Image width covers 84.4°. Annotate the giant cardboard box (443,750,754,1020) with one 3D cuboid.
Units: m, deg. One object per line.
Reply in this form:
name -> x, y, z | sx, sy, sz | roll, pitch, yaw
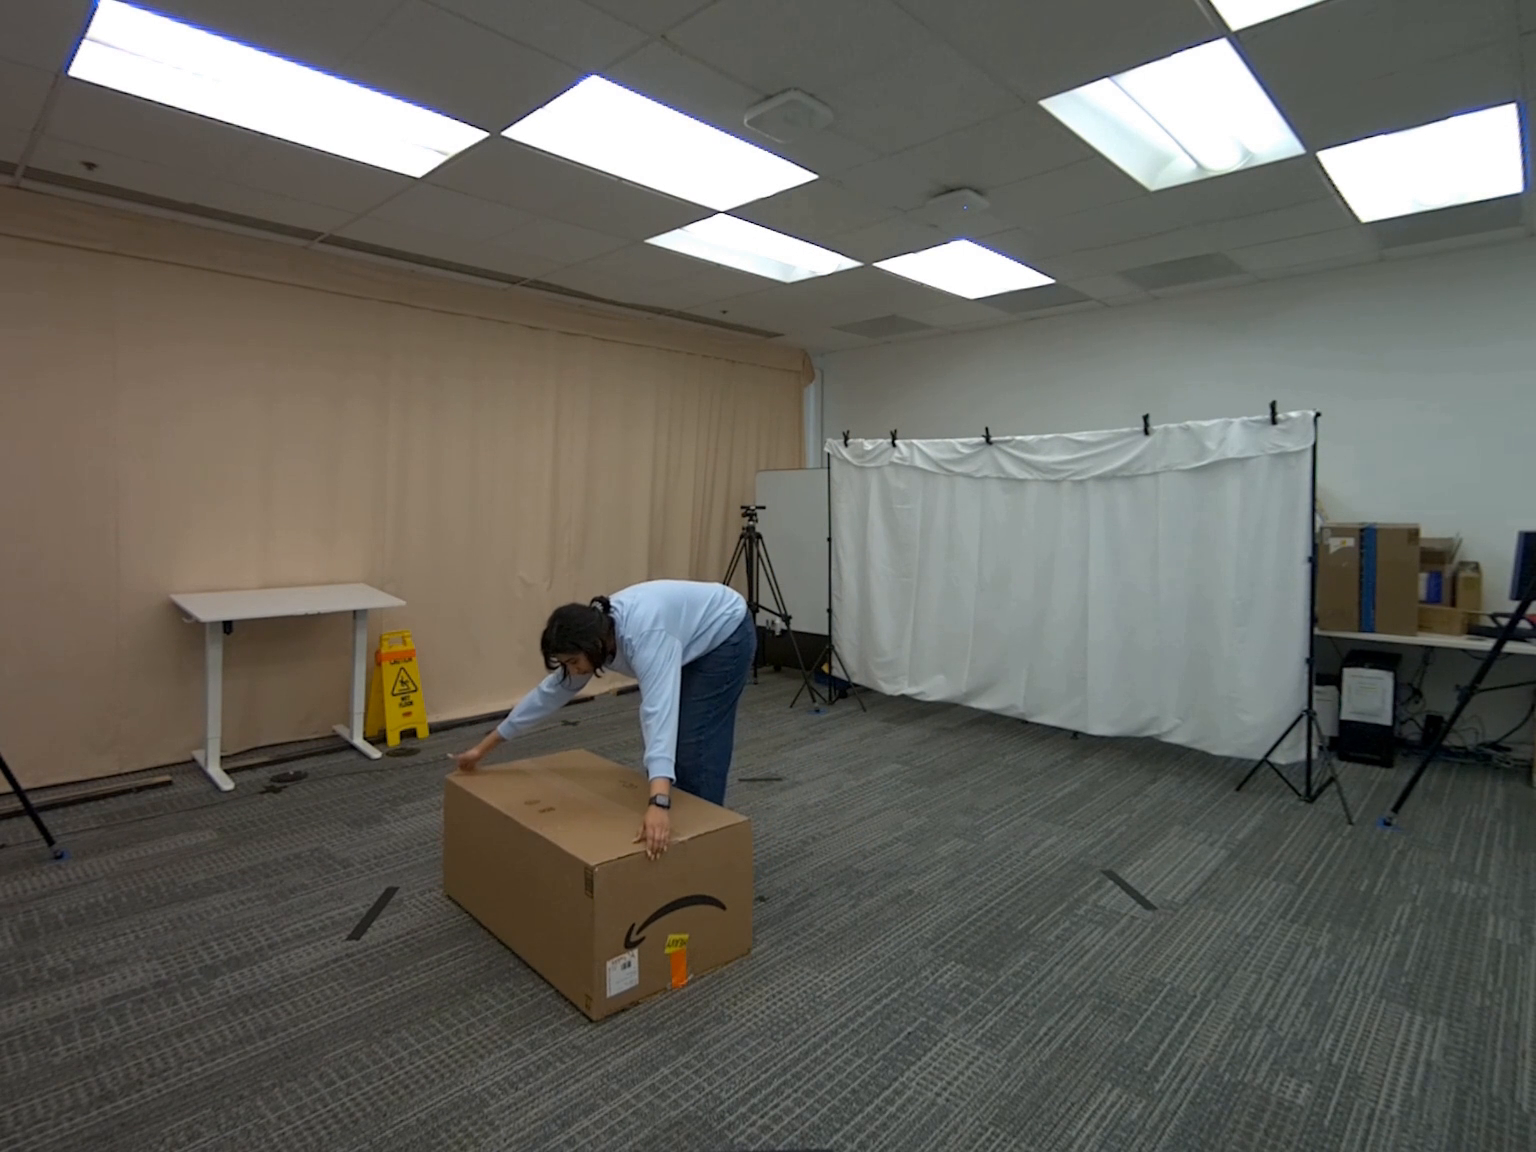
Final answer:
giant cardboard box -> -0.607, 0.945, 2.818 | 0.560, 0.425, 1.060 | -3, 5, -42
